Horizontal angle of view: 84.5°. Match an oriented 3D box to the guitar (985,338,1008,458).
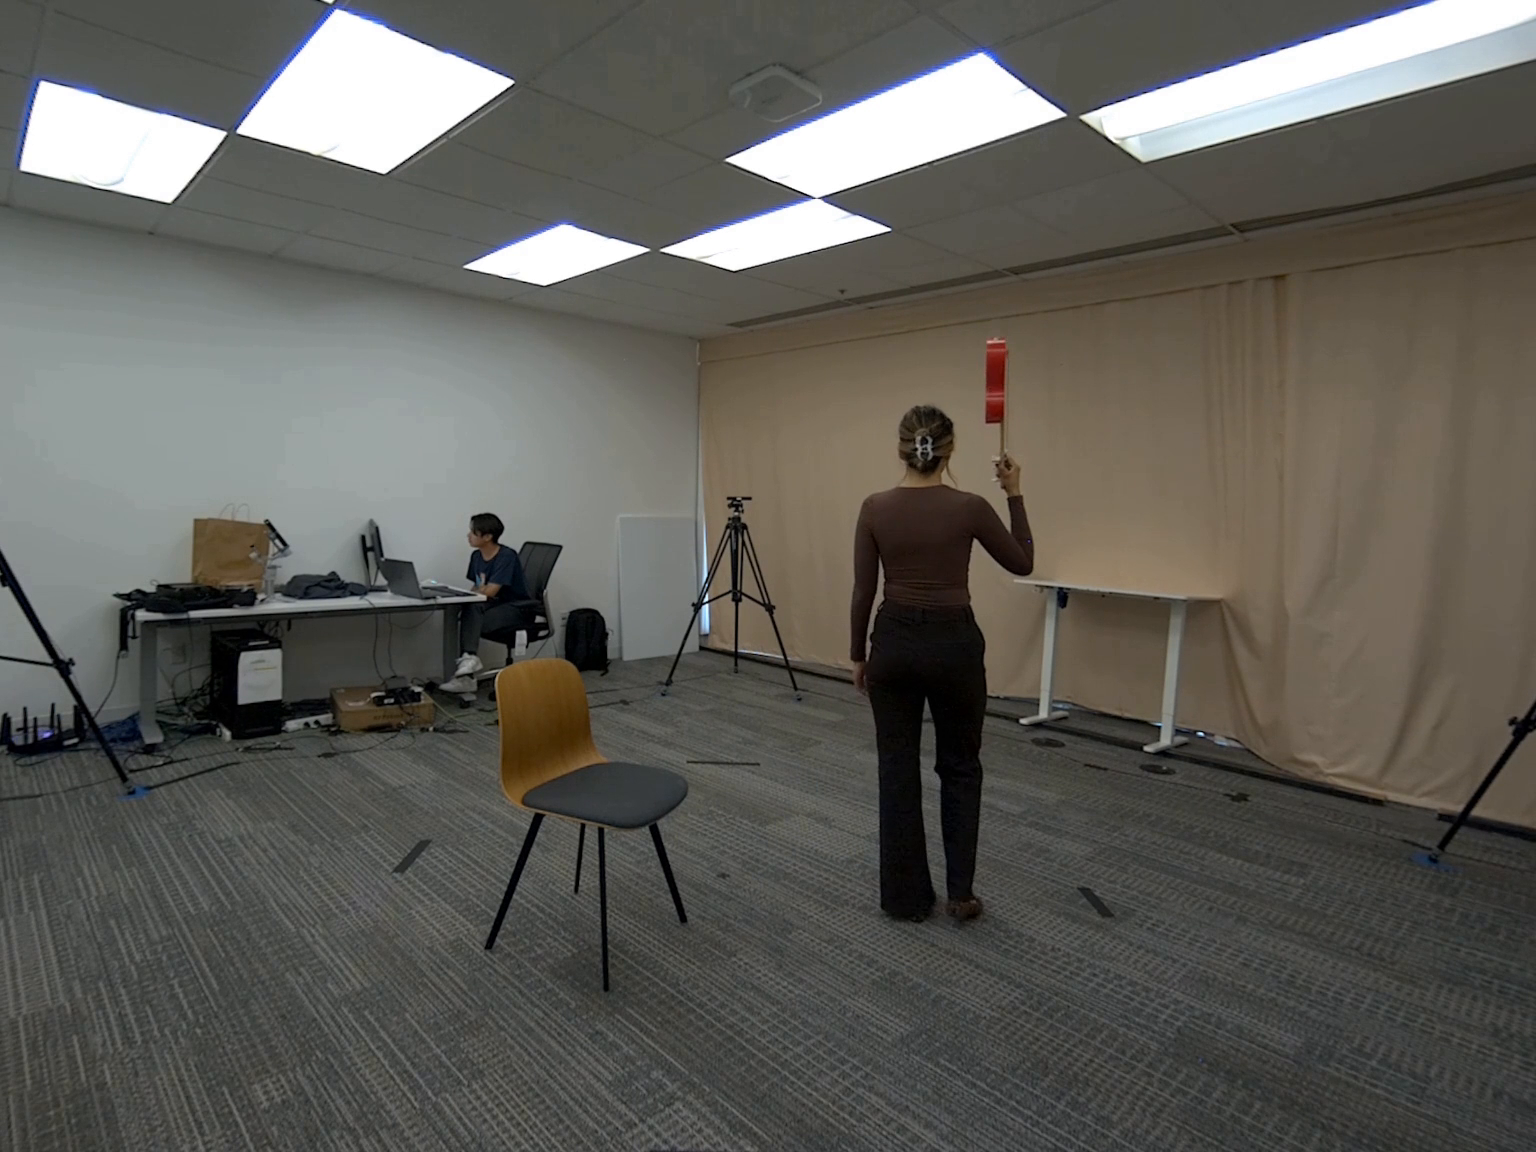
[{"bbox_3d":[0.733,-0.527,2.753,0.071,0.495,0.192,0,6,10],"label":"guitar"}]
